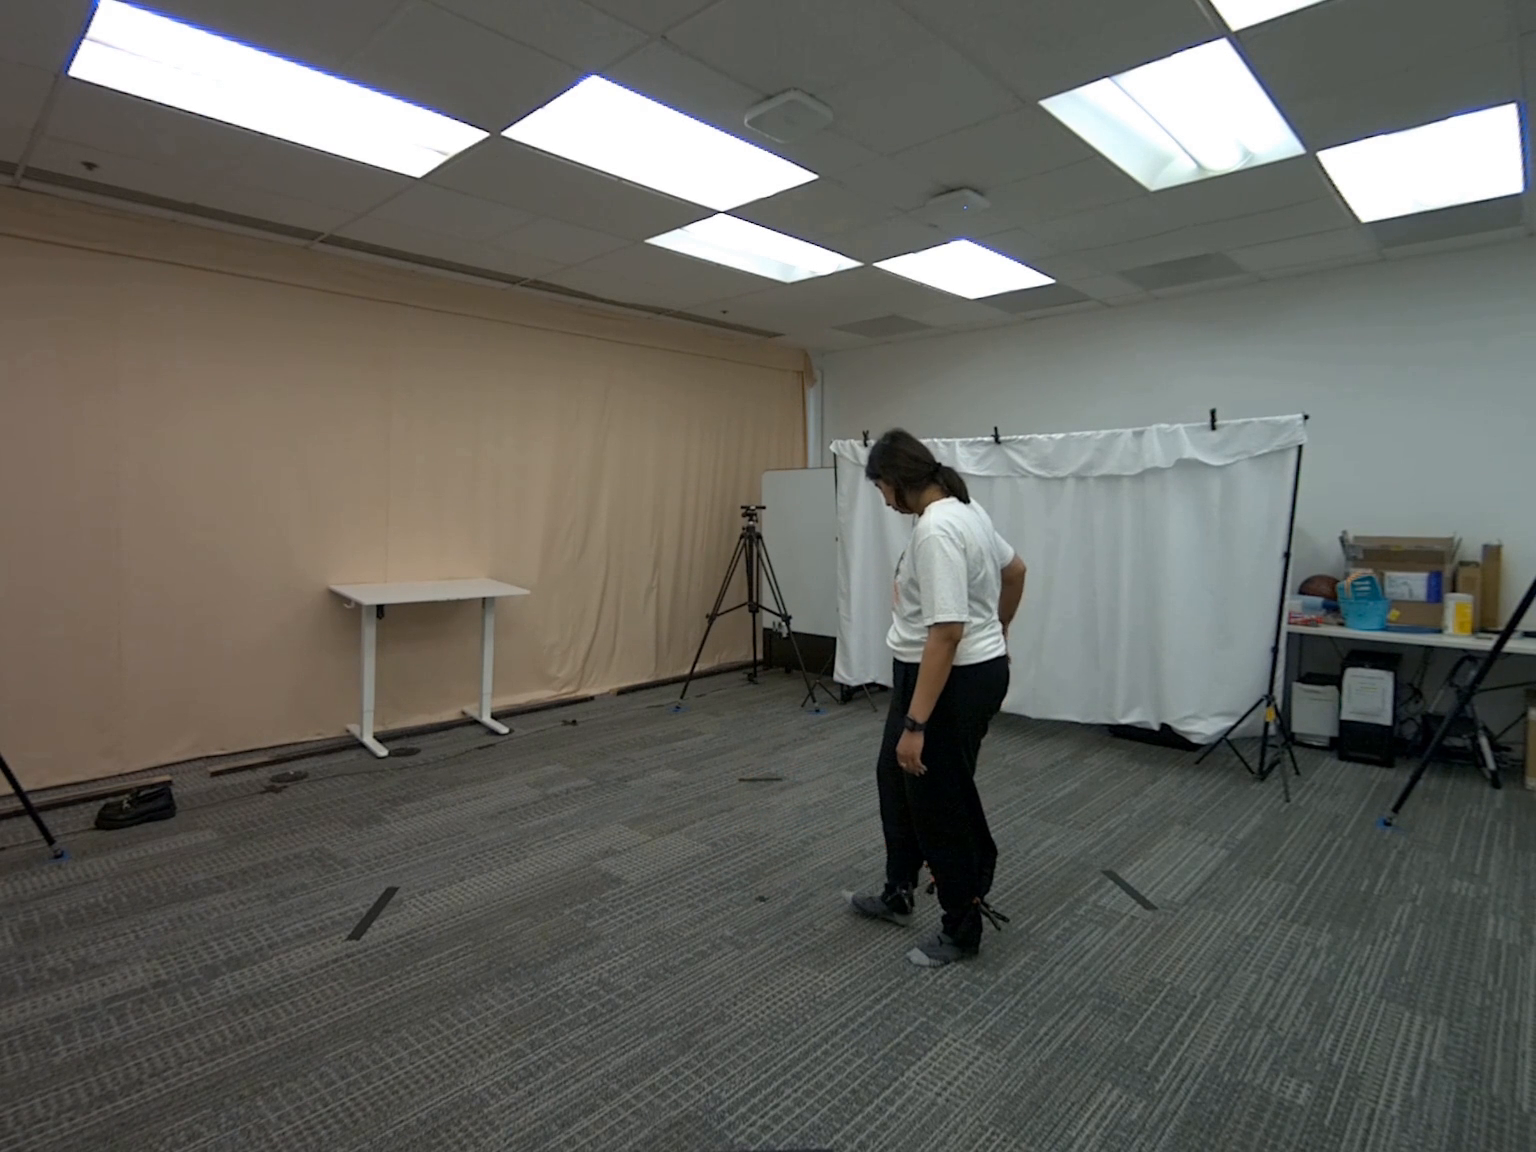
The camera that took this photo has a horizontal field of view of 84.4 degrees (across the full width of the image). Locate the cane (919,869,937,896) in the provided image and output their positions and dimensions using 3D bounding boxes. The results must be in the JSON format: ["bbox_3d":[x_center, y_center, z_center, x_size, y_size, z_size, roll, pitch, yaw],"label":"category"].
[{"bbox_3d":[0.706,0.690,3.038,0.156,0.905,0.201,22,13,24],"label":"cane"}]
